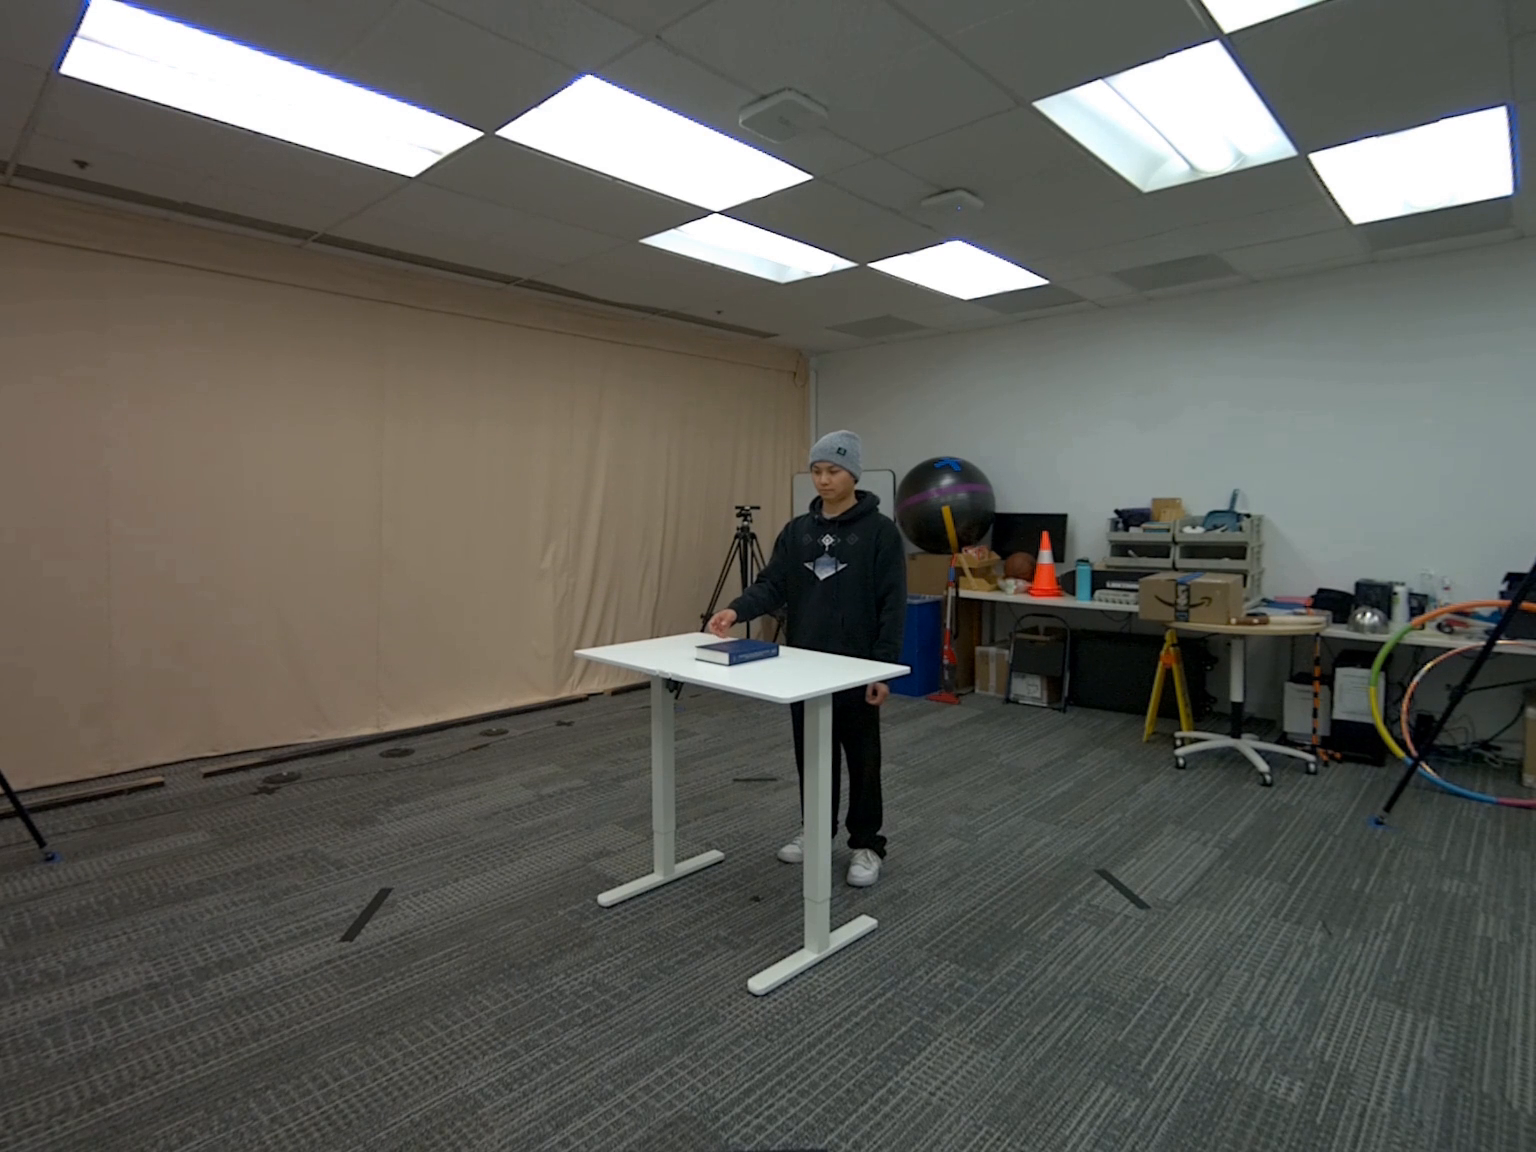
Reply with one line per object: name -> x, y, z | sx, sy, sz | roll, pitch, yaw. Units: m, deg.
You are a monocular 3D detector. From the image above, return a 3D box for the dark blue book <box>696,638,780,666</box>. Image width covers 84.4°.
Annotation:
dark blue book -> -0.100, 0.256, 2.823 | 0.169, 0.045, 0.238 | 5, 7, 44
